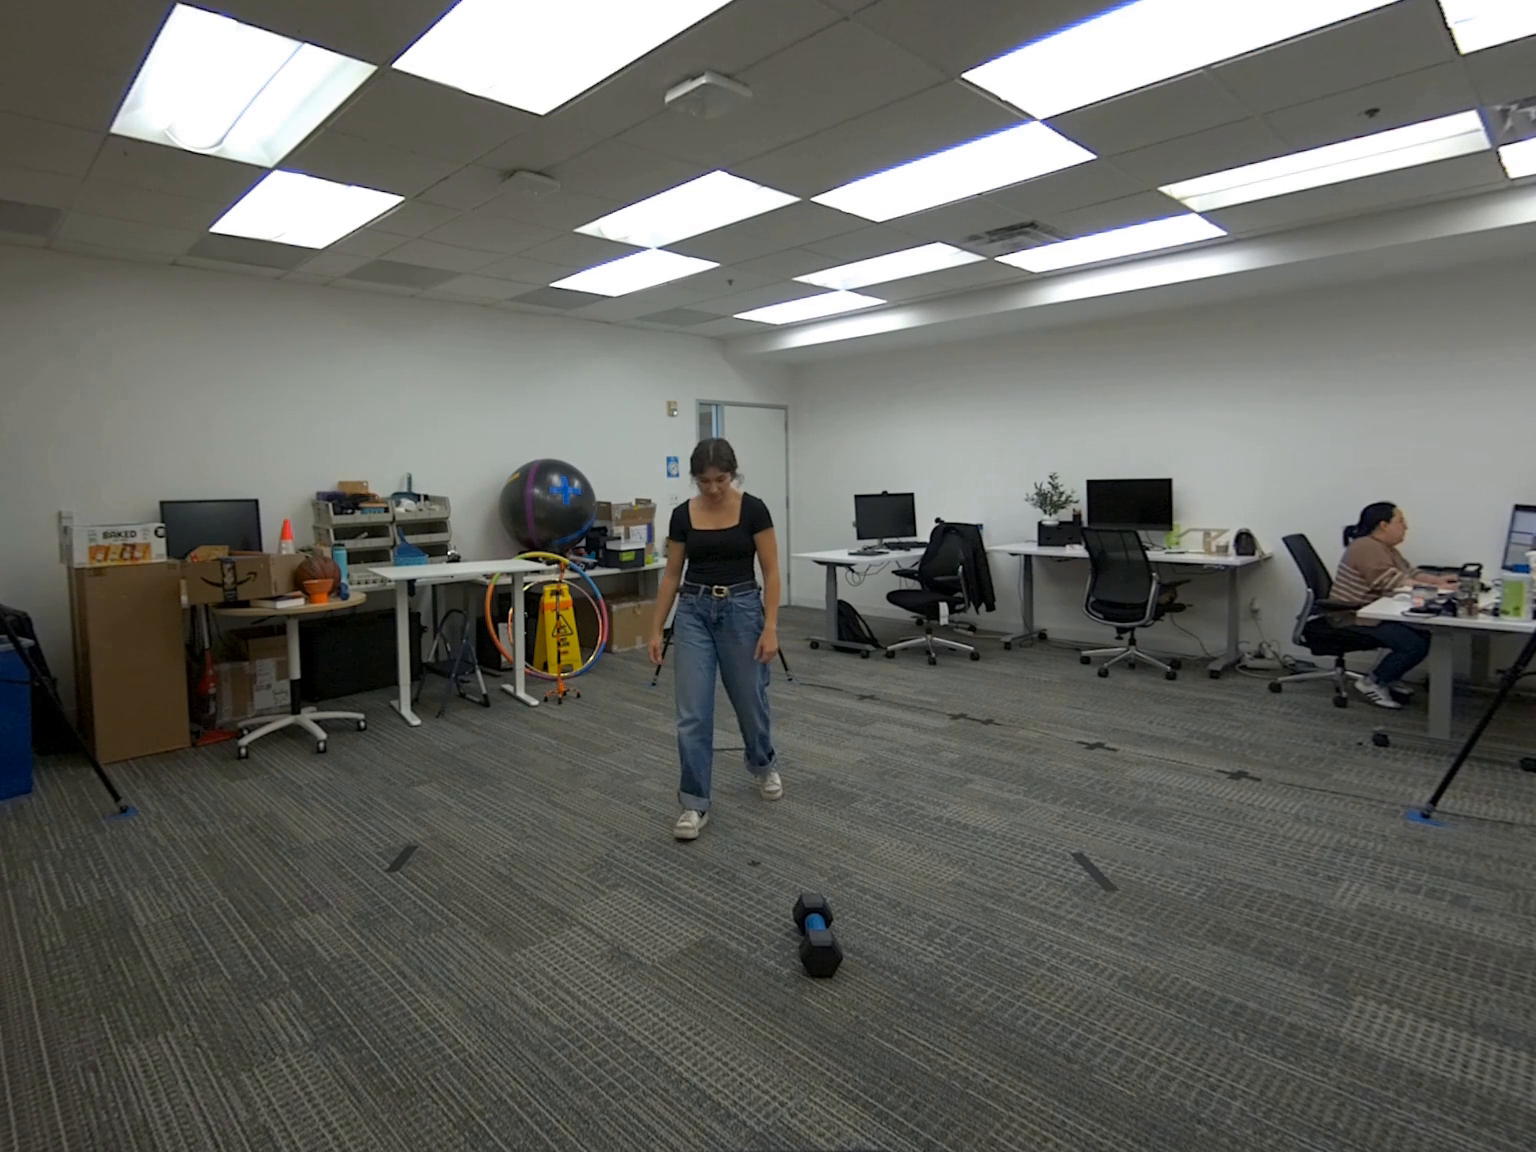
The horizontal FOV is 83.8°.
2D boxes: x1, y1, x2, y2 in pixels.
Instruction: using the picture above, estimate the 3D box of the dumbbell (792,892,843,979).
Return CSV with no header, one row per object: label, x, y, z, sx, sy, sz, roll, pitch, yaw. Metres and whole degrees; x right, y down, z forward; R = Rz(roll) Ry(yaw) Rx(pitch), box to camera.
dumbbell,0.149,1.057,2.521,0.109,0.122,0.295,-32,6,1
